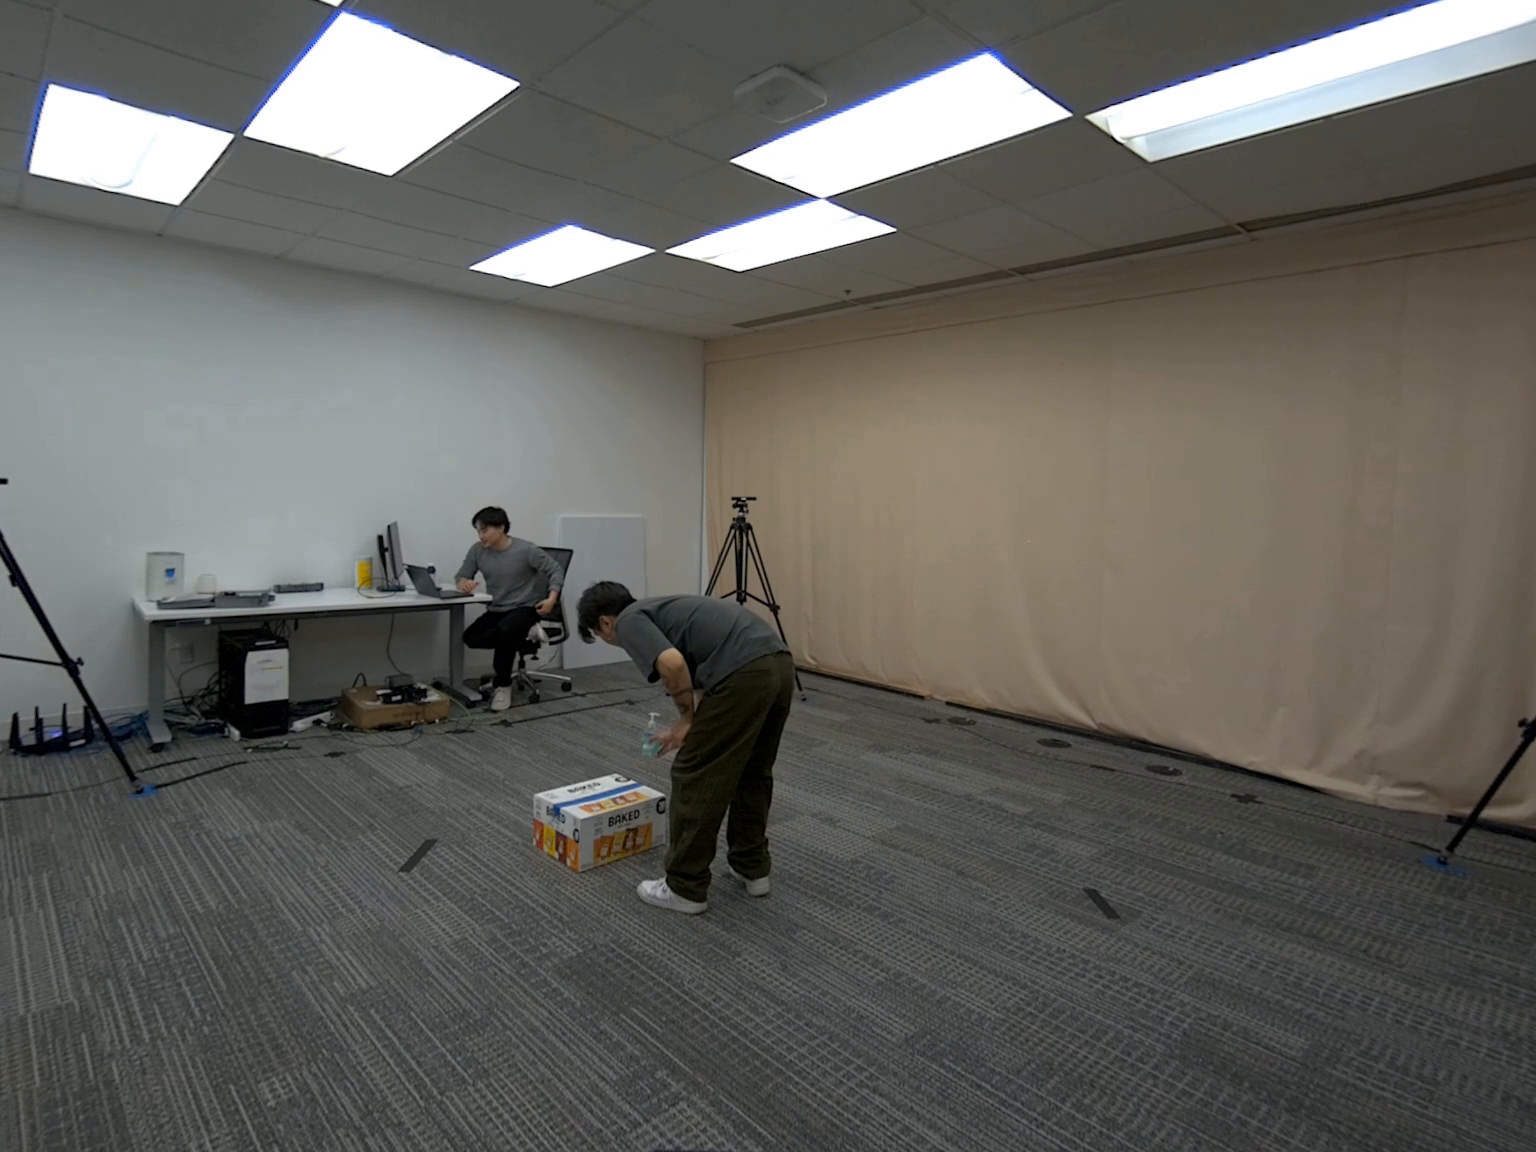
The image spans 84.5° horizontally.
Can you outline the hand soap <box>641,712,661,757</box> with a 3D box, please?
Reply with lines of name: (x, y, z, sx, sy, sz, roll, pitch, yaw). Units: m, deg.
hand soap: (-0.471, 0.637, 3.401, 0.085, 0.169, 0.043, 1, -7, 8)
